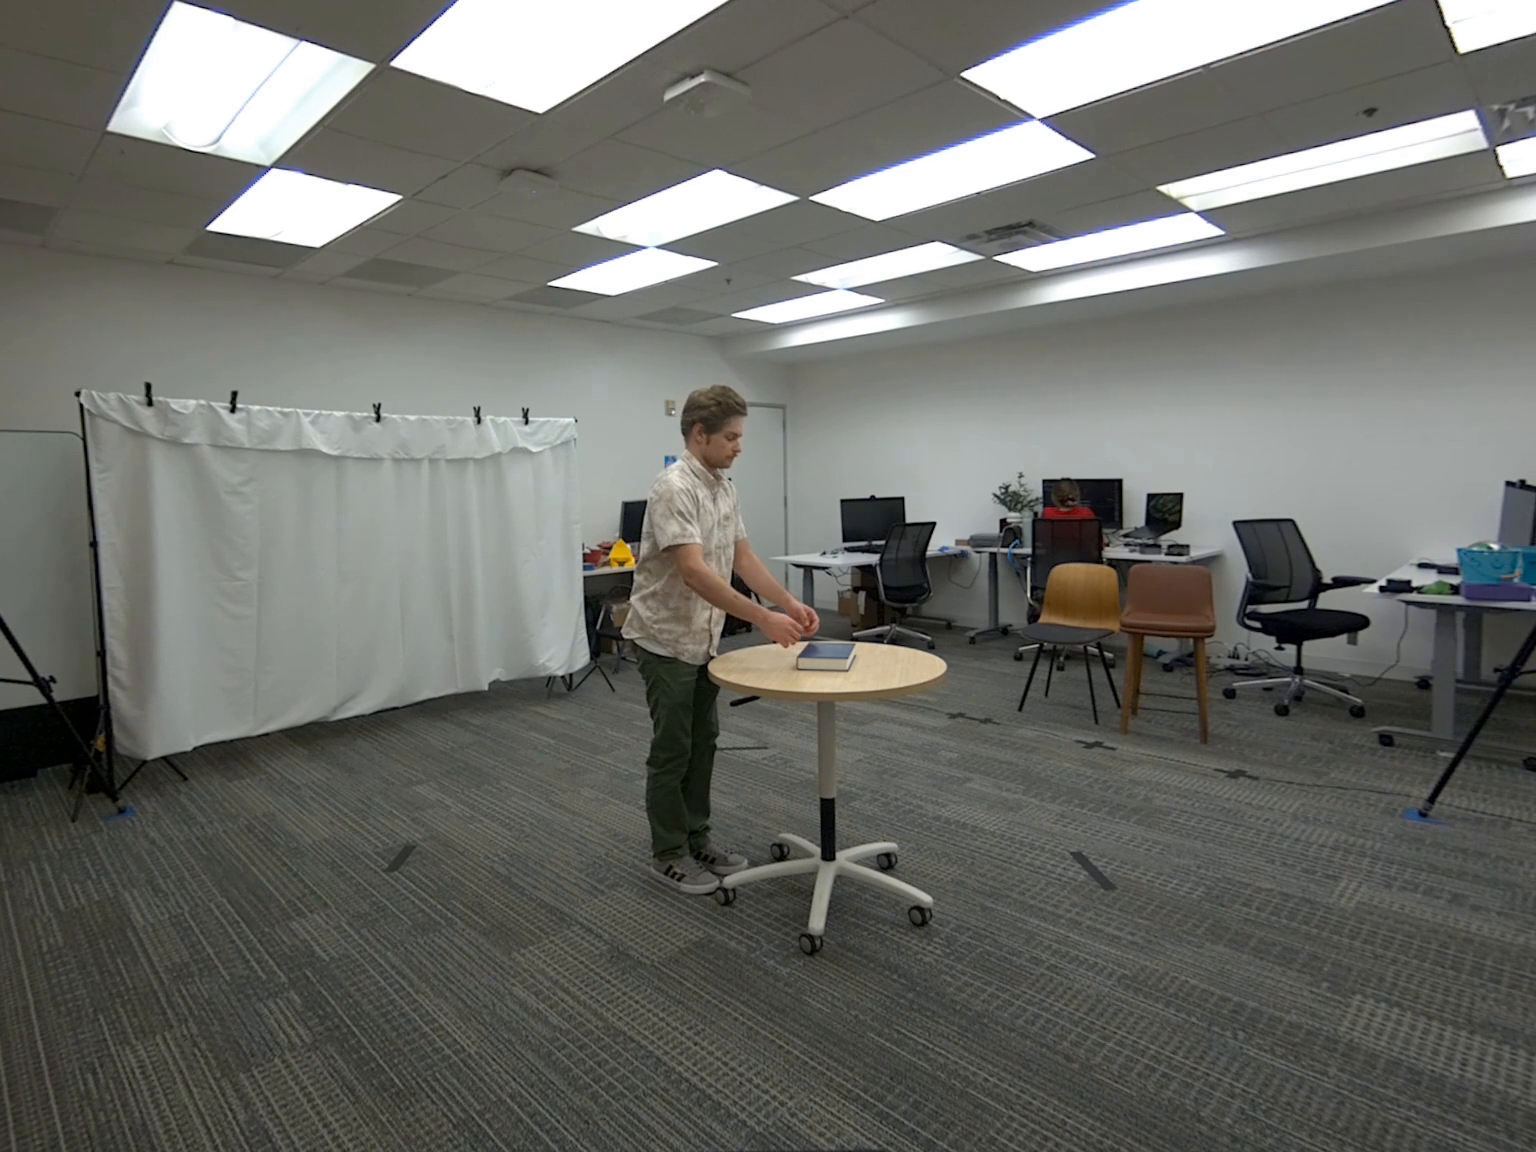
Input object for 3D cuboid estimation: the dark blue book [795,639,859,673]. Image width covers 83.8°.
[{"bbox_3d":[0.199,0.260,2.787,0.165,0.045,0.243,0,6,12],"label":"dark blue book"}]
